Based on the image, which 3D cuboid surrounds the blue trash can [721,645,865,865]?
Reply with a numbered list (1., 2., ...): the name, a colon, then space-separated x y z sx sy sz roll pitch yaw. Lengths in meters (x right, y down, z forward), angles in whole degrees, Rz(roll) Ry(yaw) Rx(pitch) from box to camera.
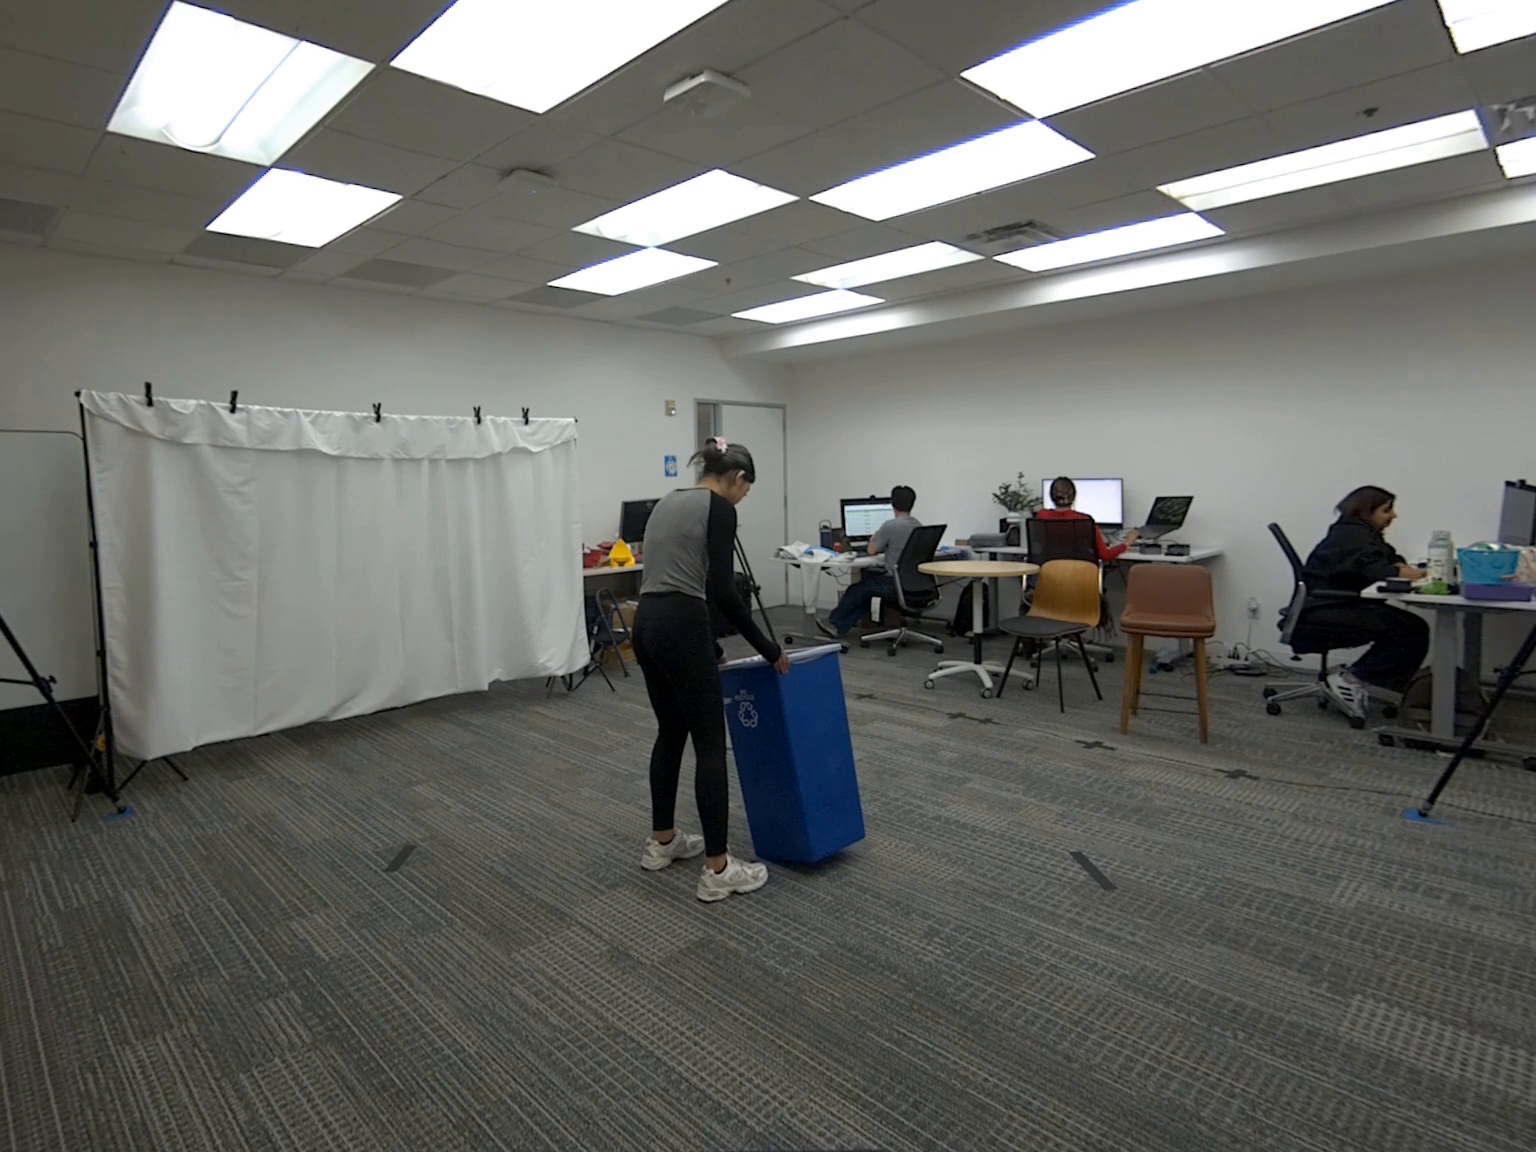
1. blue trash can: 0.099 0.646 3.192 0.368 0.718 0.381 -6 -8 -42
